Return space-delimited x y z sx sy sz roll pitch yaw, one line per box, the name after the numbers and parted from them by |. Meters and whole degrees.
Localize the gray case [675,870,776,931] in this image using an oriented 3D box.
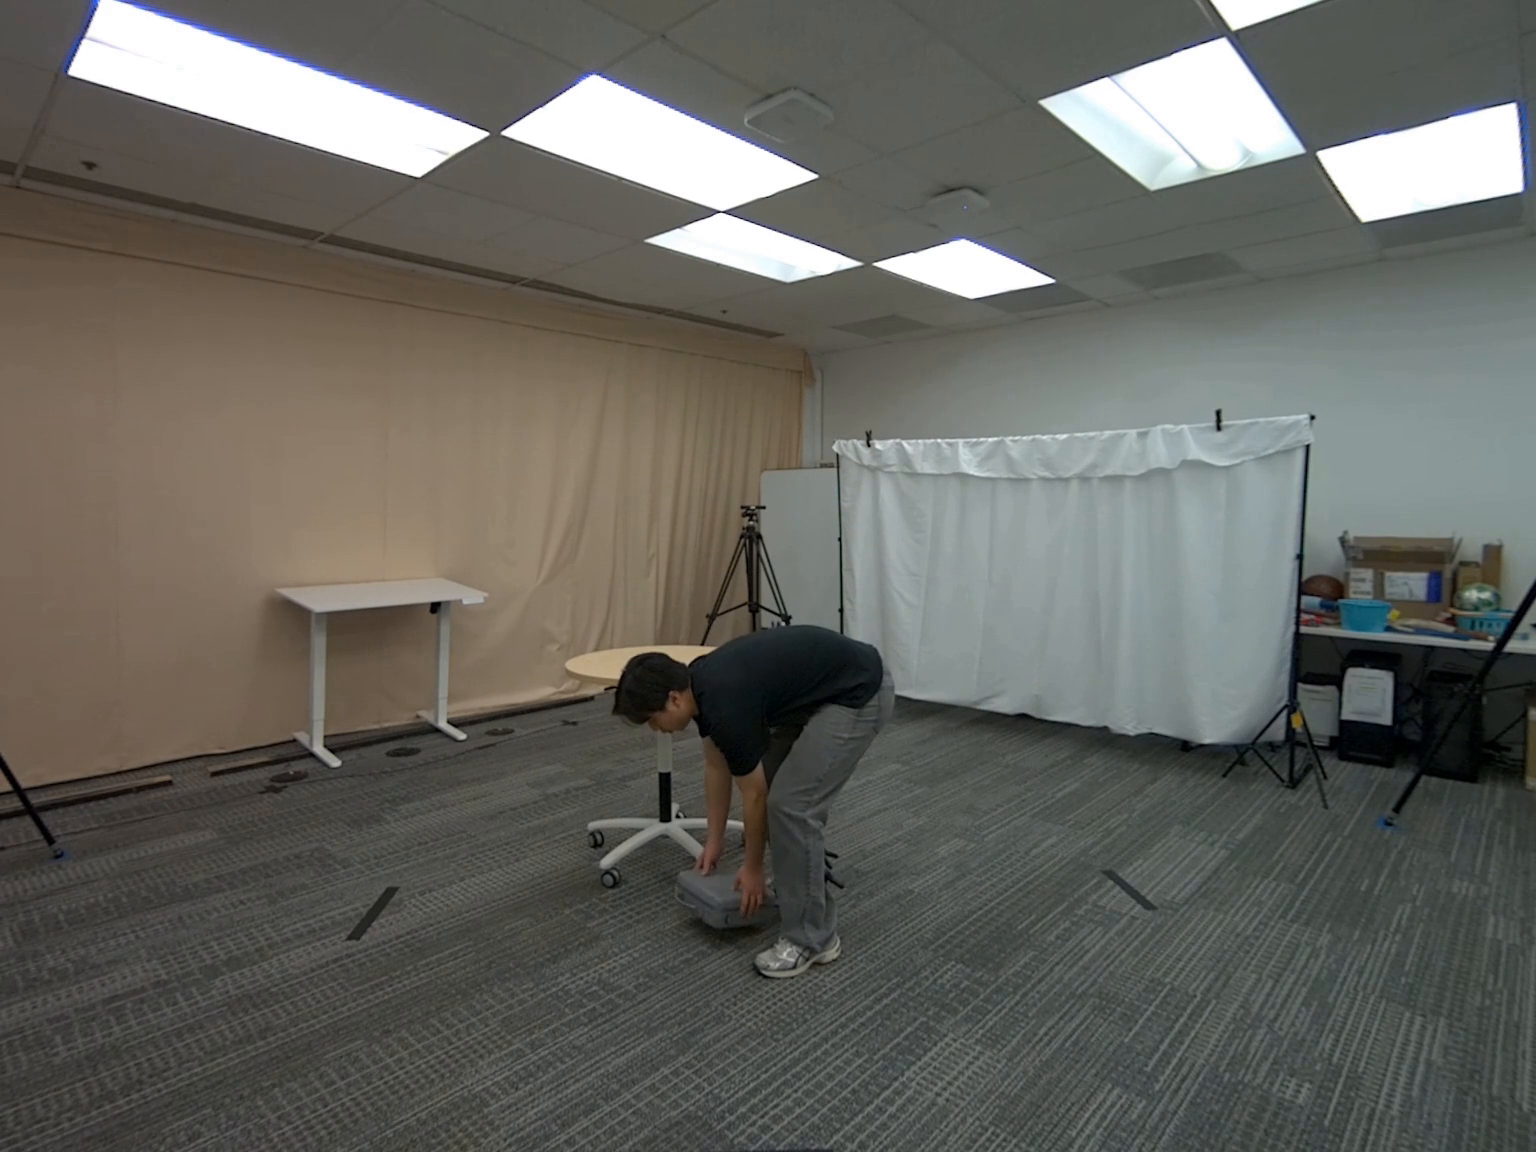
-0.153 1.055 2.774 0.278 0.103 0.272 6 2 -37 | gray case
